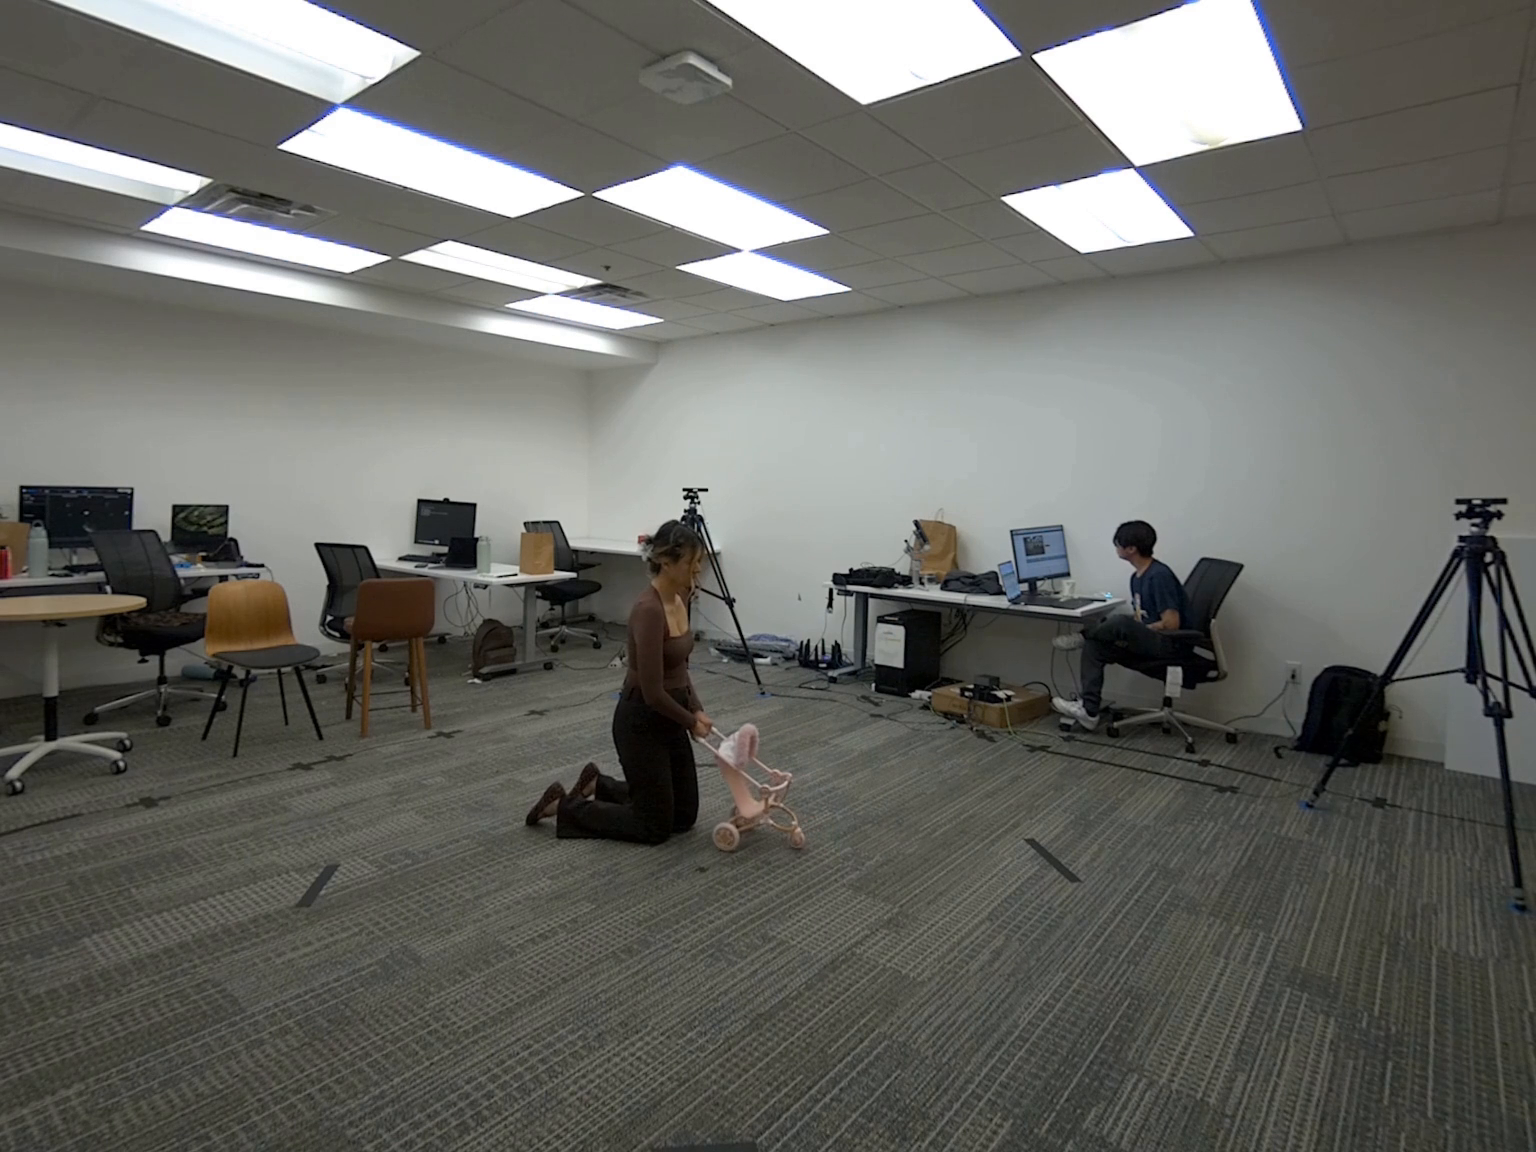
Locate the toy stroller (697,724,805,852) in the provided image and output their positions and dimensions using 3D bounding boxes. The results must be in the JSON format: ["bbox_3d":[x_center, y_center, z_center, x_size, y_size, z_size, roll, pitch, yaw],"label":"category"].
[{"bbox_3d":[-0.067,0.827,3.348,0.347,0.536,0.276,-14,-2,20],"label":"toy stroller"}]
